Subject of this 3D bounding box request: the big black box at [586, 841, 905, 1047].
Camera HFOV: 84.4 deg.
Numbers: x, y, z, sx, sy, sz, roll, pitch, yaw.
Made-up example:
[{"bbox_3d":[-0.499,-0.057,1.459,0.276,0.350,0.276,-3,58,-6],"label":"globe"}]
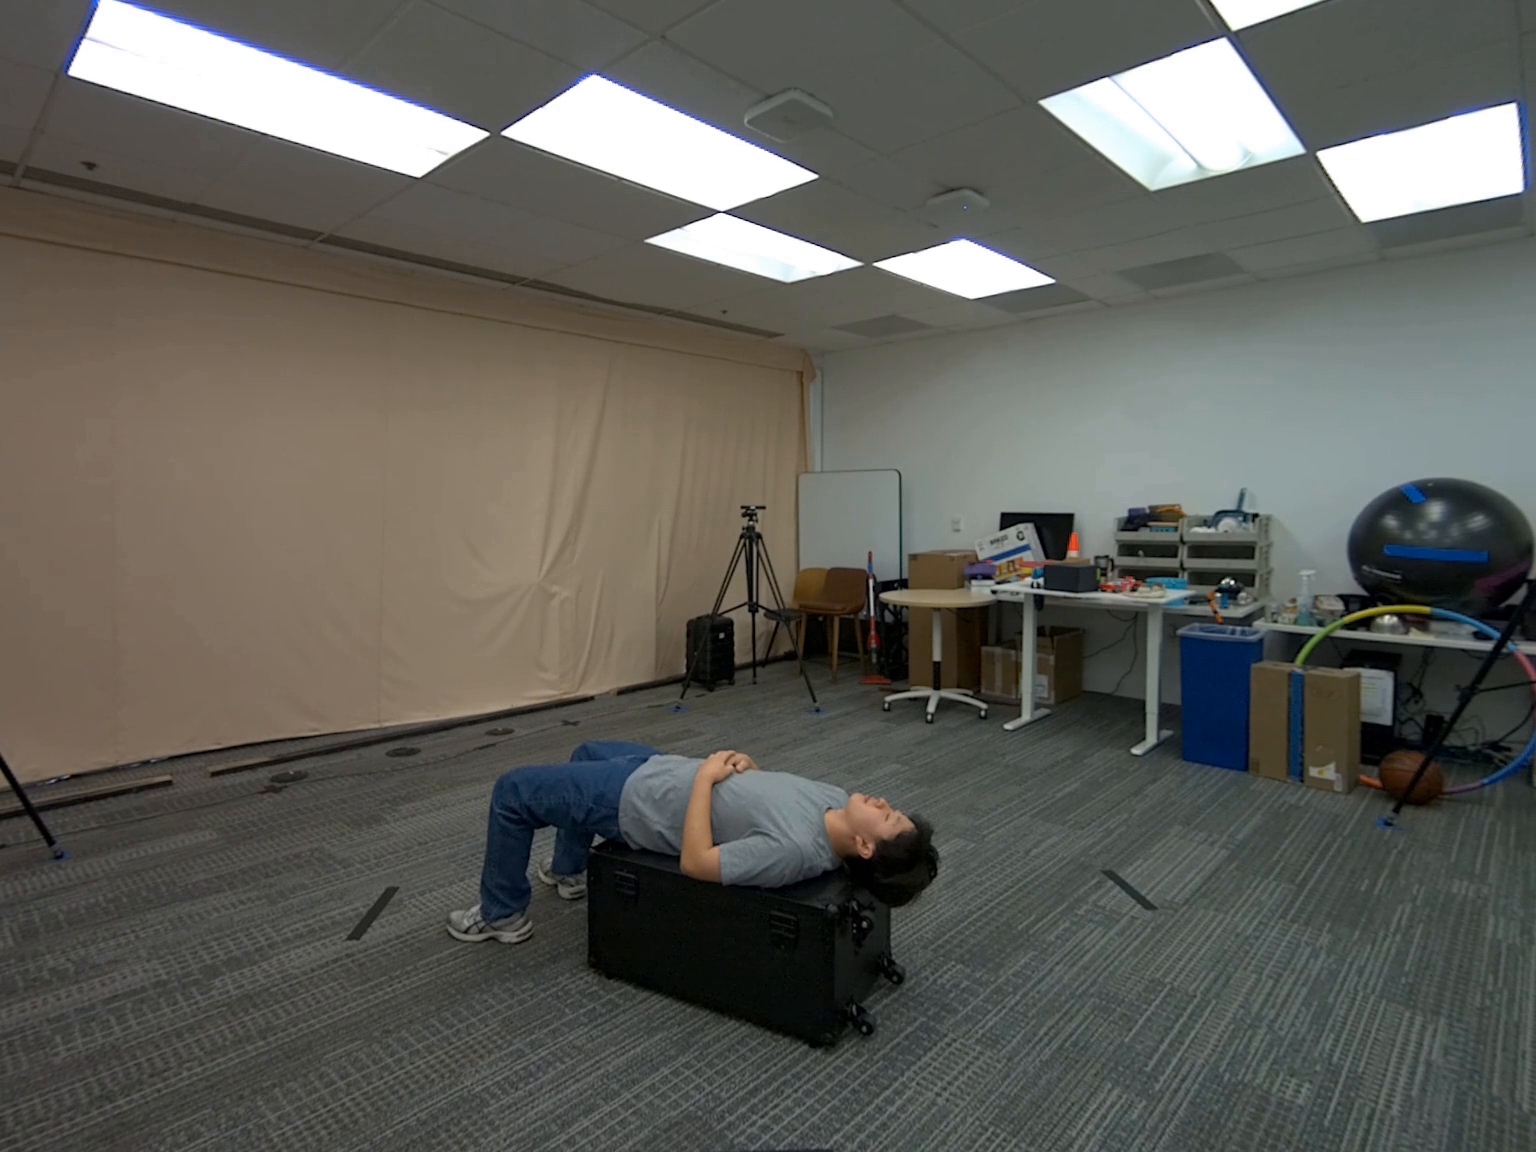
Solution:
[{"bbox_3d":[-0.052,1.003,2.497,0.885,0.395,0.508,2,4,28],"label":"big black box"}]
